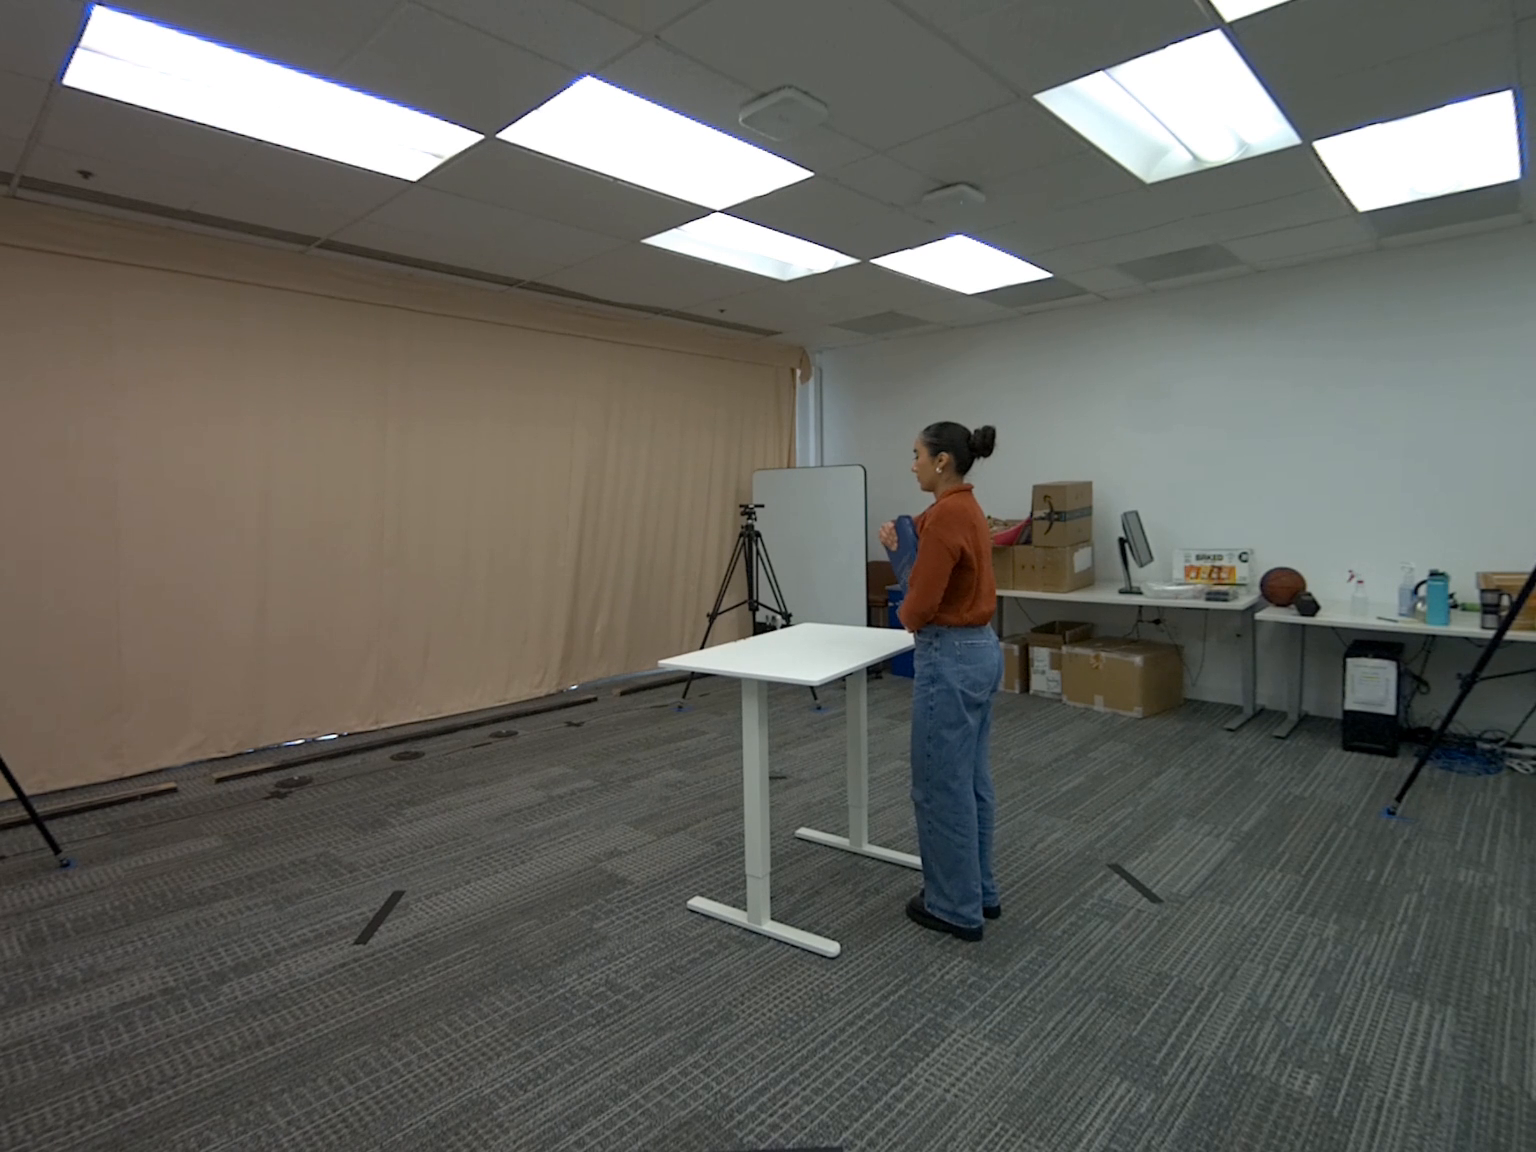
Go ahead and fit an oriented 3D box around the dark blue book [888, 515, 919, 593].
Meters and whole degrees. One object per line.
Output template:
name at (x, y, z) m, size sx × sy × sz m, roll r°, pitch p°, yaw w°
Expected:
dark blue book at (0.475, -0.050, 2.767) m, size 0.045 × 0.250 × 0.162 m, roll -1°, pitch -35°, yaw -12°
